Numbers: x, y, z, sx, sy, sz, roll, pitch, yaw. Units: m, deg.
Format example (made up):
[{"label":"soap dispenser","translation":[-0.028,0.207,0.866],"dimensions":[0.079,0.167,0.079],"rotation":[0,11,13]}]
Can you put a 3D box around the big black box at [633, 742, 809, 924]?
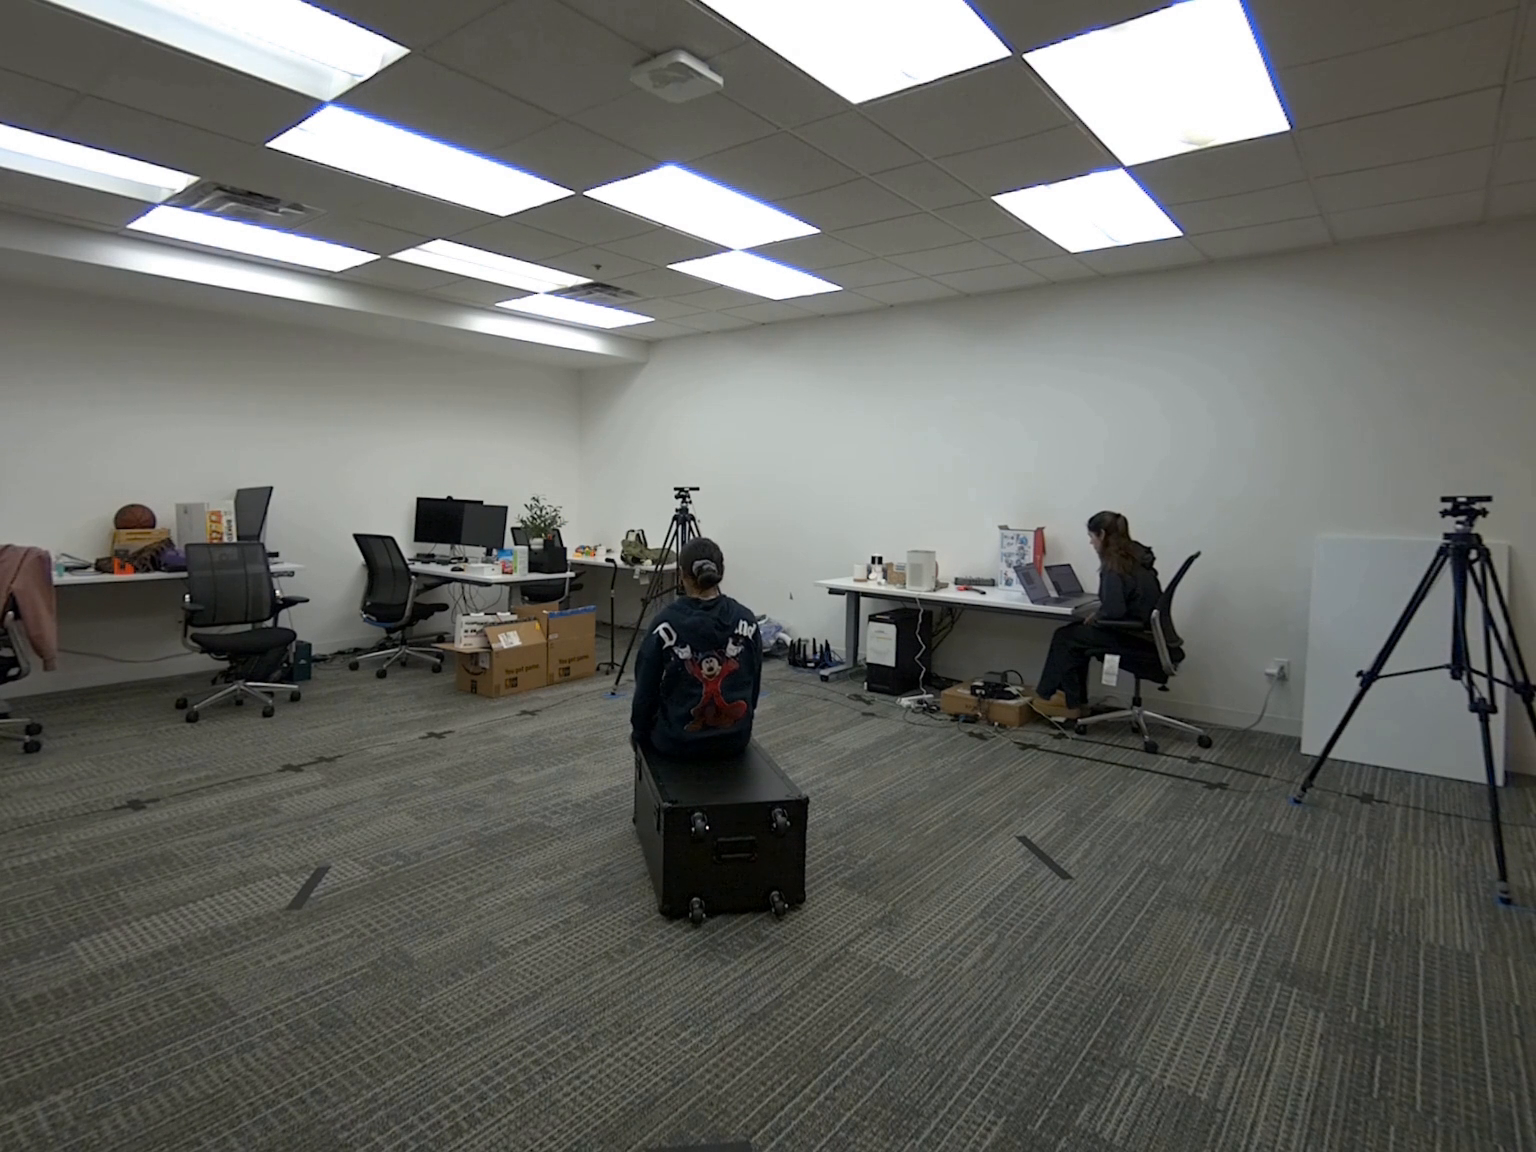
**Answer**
[{"label":"big black box","translation":[-0.208,0.873,3.093],"dimensions":[0.513,0.395,0.877],"rotation":[-1,4,-15]}]
